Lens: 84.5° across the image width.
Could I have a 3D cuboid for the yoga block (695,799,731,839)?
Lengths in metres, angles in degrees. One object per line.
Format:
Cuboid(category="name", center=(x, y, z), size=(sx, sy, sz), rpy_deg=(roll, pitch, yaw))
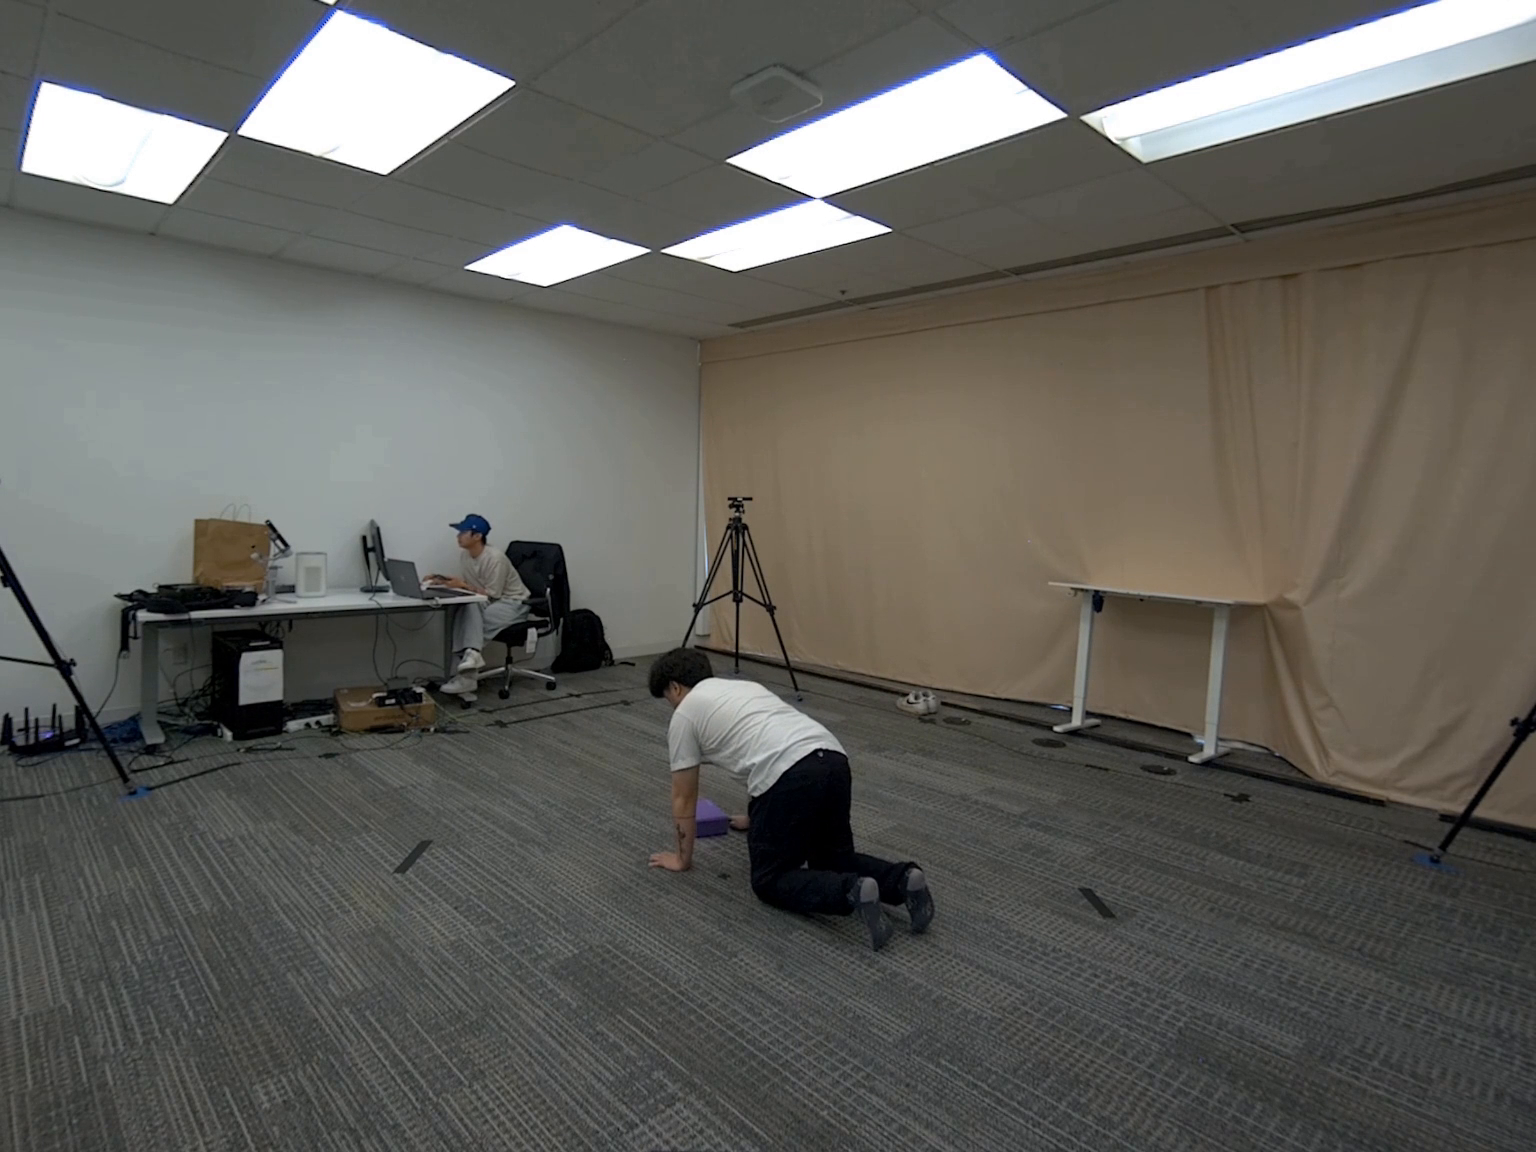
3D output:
Cuboid(category="yoga block", center=(-0.283, 1.025, 3.572), size=(0.146, 0.076, 0.234), rpy_deg=(-1, 6, -23))
